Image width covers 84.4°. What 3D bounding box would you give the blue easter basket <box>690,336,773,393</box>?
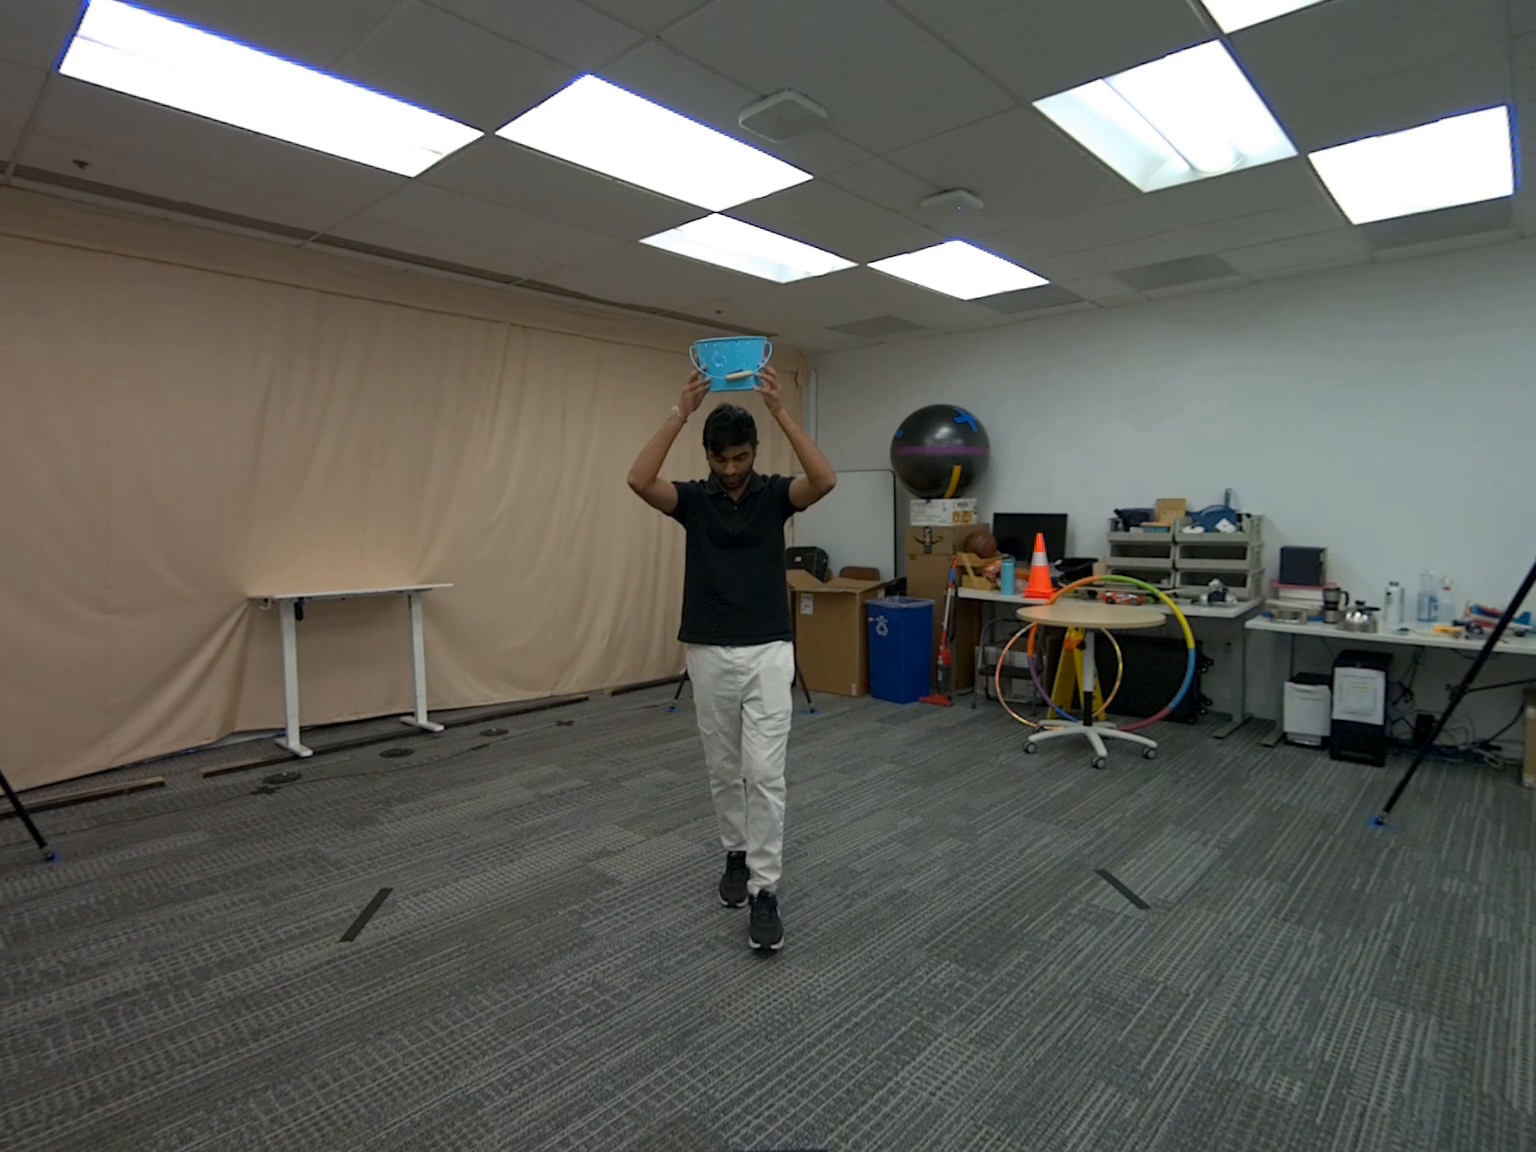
[{"bbox_3d":[-0.111,-0.659,2.619,0.243,0.155,0.245,-3,8,-1],"label":"blue easter basket"}]
